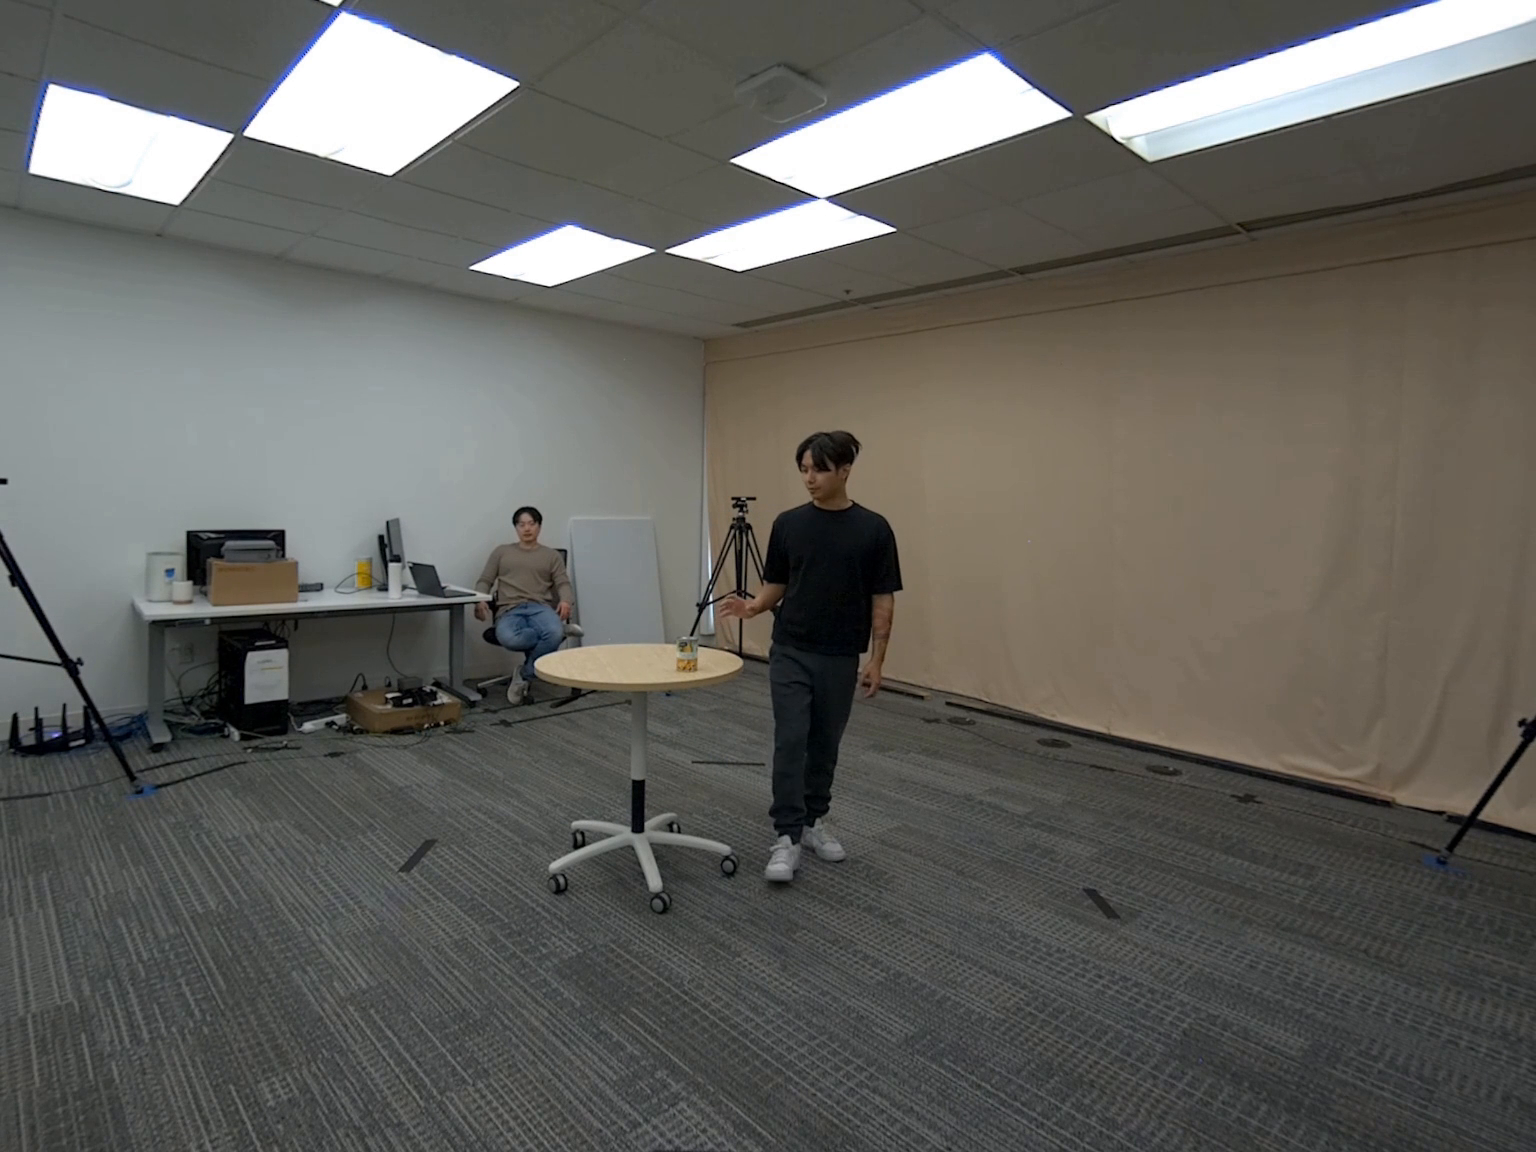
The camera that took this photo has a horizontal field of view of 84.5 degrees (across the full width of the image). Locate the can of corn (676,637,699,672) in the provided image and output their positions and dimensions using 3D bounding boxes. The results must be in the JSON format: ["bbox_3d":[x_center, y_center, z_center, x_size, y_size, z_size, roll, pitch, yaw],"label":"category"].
[{"bbox_3d":[-0.294,0.278,2.956,0.074,0.110,0.074,-2,5,-1],"label":"can of corn"}]
